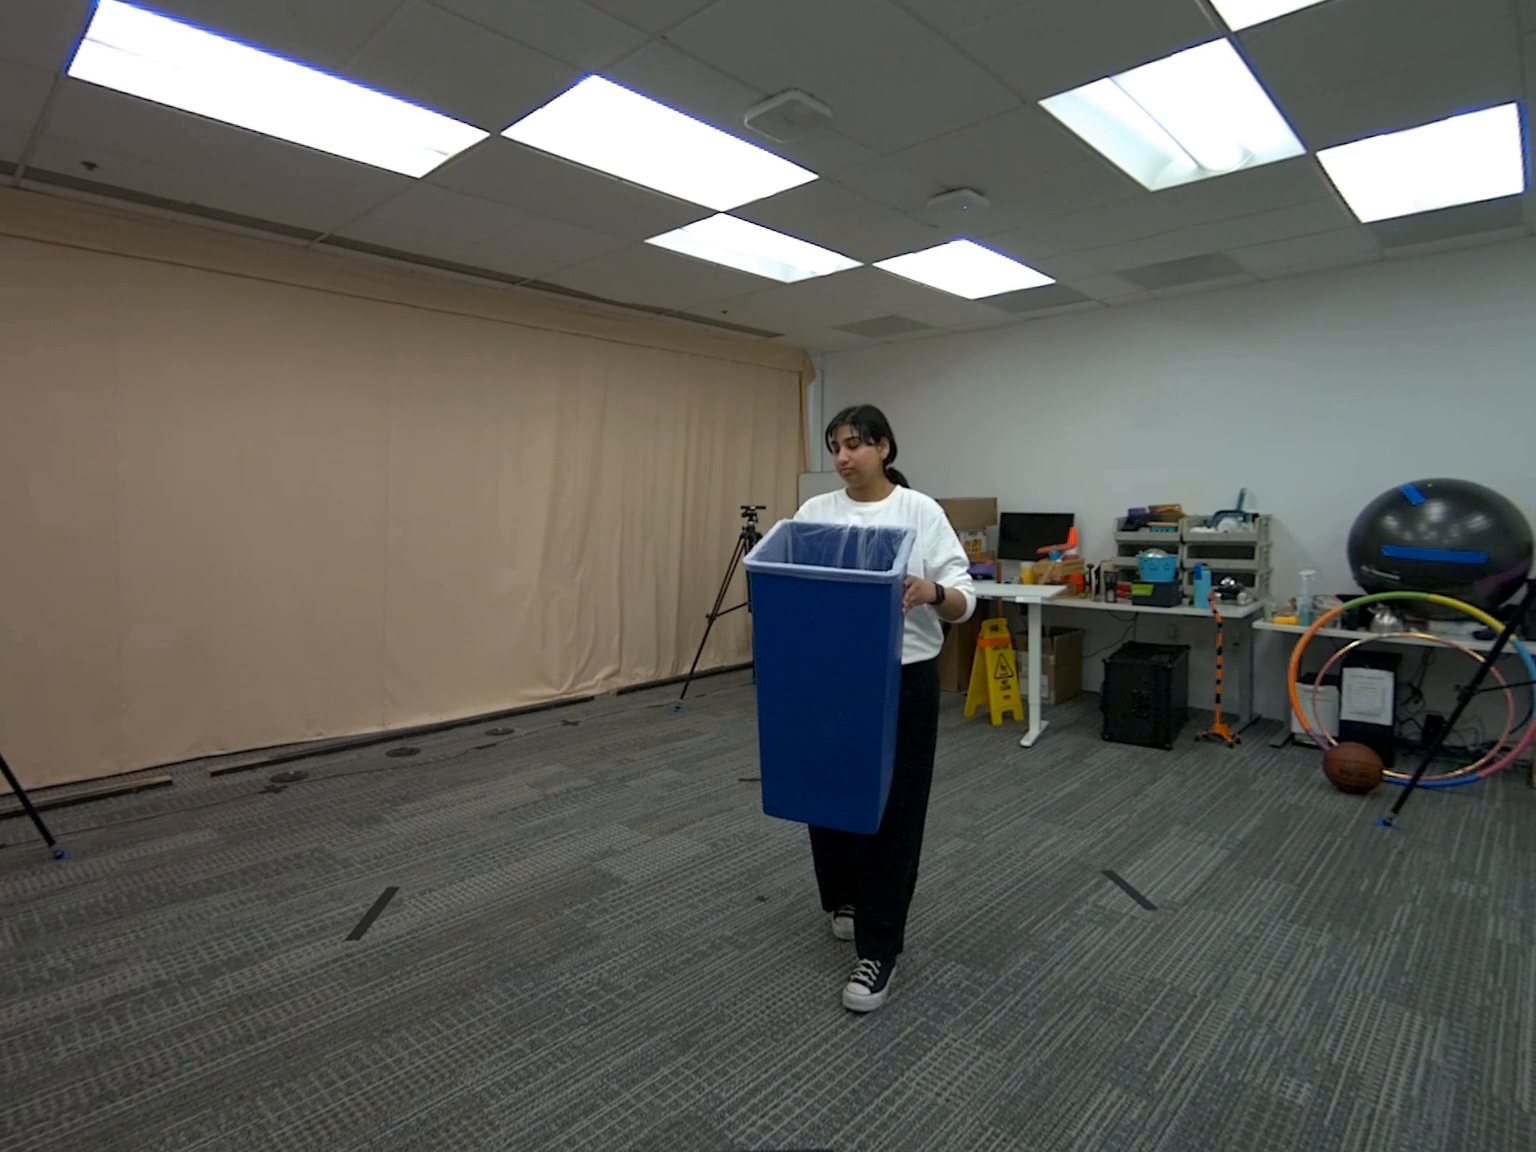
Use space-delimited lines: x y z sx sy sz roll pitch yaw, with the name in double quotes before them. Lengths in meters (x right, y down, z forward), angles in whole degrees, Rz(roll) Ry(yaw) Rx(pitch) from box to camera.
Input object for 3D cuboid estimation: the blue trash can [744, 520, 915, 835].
"blue trash can" 0.168 0.255 2.169 0.386 0.705 0.371 4 18 18
